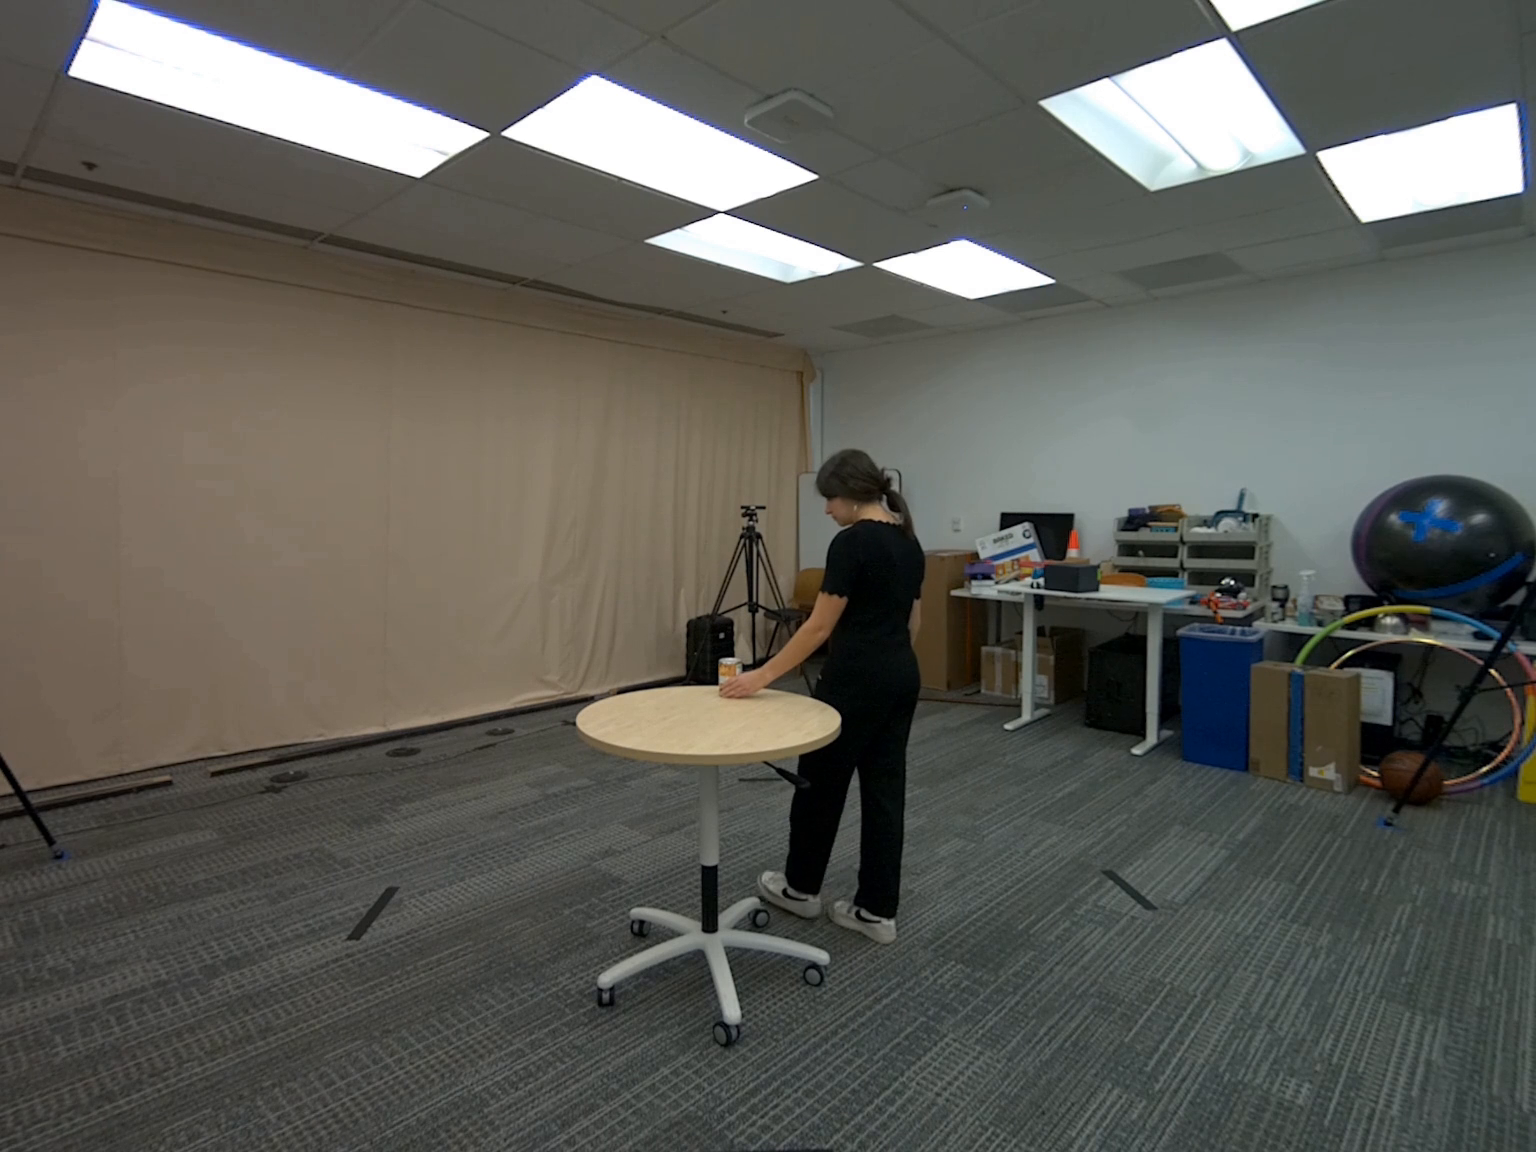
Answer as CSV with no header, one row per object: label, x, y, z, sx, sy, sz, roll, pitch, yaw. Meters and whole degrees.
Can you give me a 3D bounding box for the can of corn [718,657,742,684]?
can of corn,-0.112,0.331,2.705,0.074,0.111,0.074,3,4,-2
